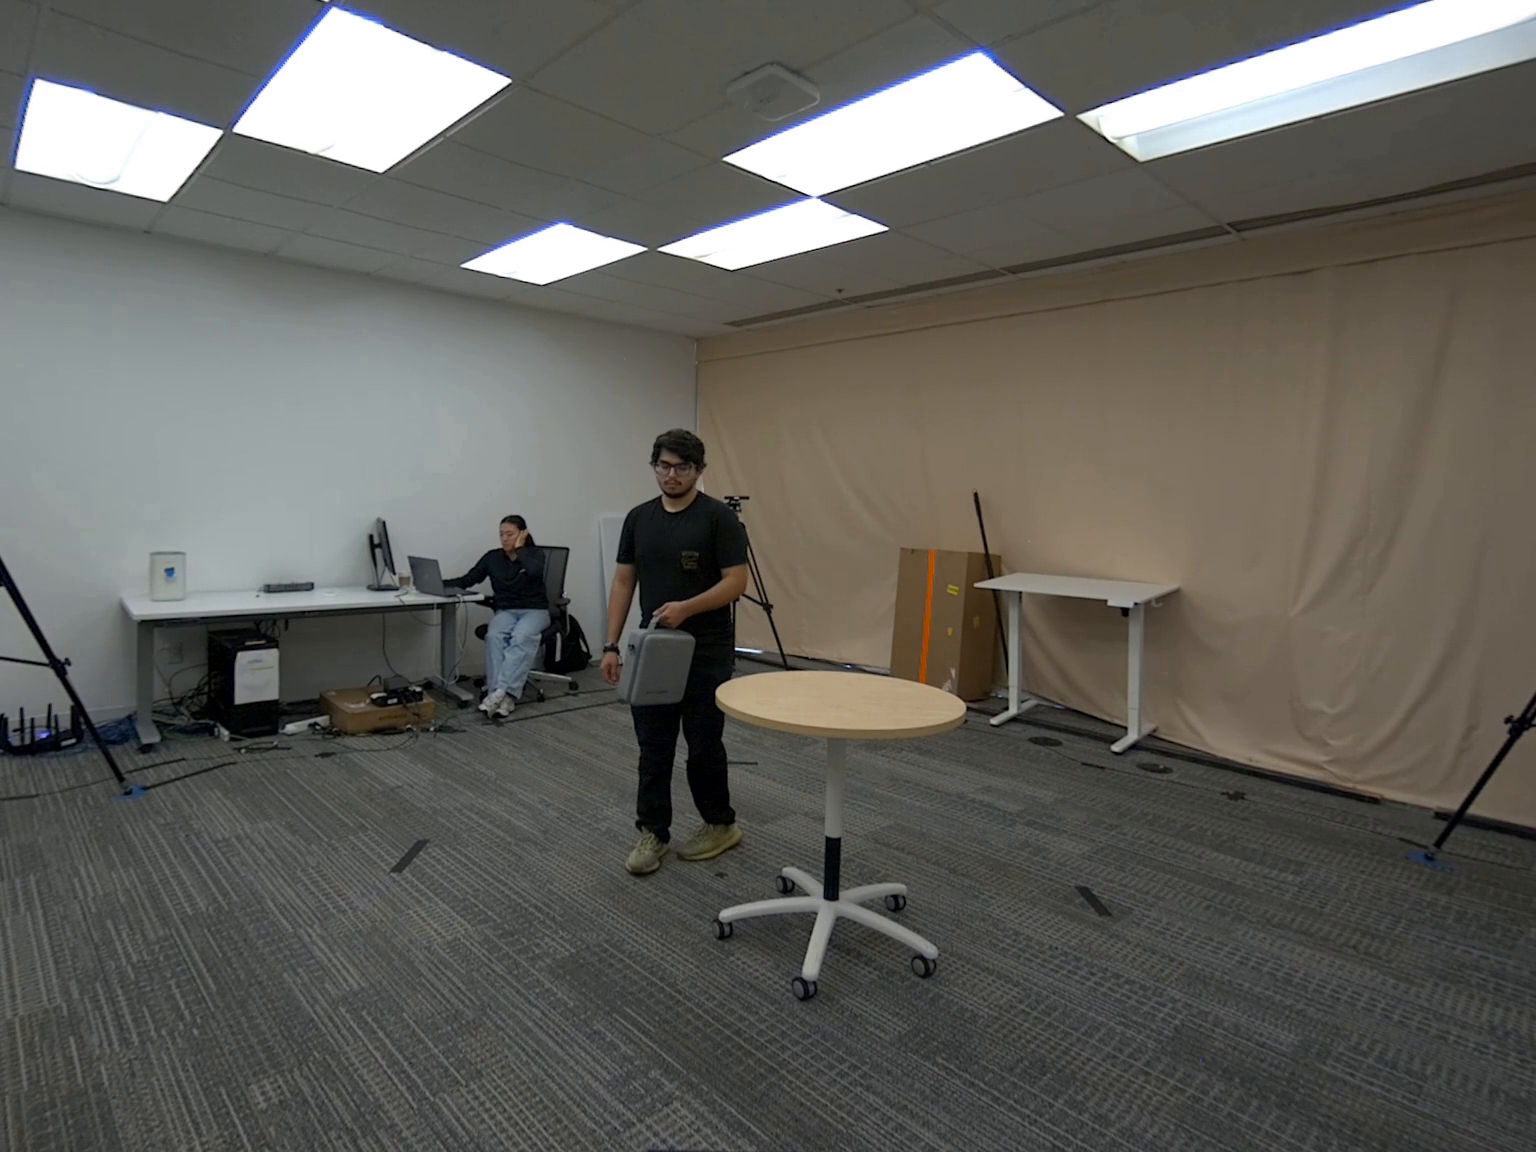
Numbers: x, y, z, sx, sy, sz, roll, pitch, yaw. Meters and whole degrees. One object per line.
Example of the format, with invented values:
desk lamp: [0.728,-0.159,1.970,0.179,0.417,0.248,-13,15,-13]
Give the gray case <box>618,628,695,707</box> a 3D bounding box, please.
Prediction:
gray case: [-0.393,0.308,2.910,0.107,0.260,0.250,11,3,38]
